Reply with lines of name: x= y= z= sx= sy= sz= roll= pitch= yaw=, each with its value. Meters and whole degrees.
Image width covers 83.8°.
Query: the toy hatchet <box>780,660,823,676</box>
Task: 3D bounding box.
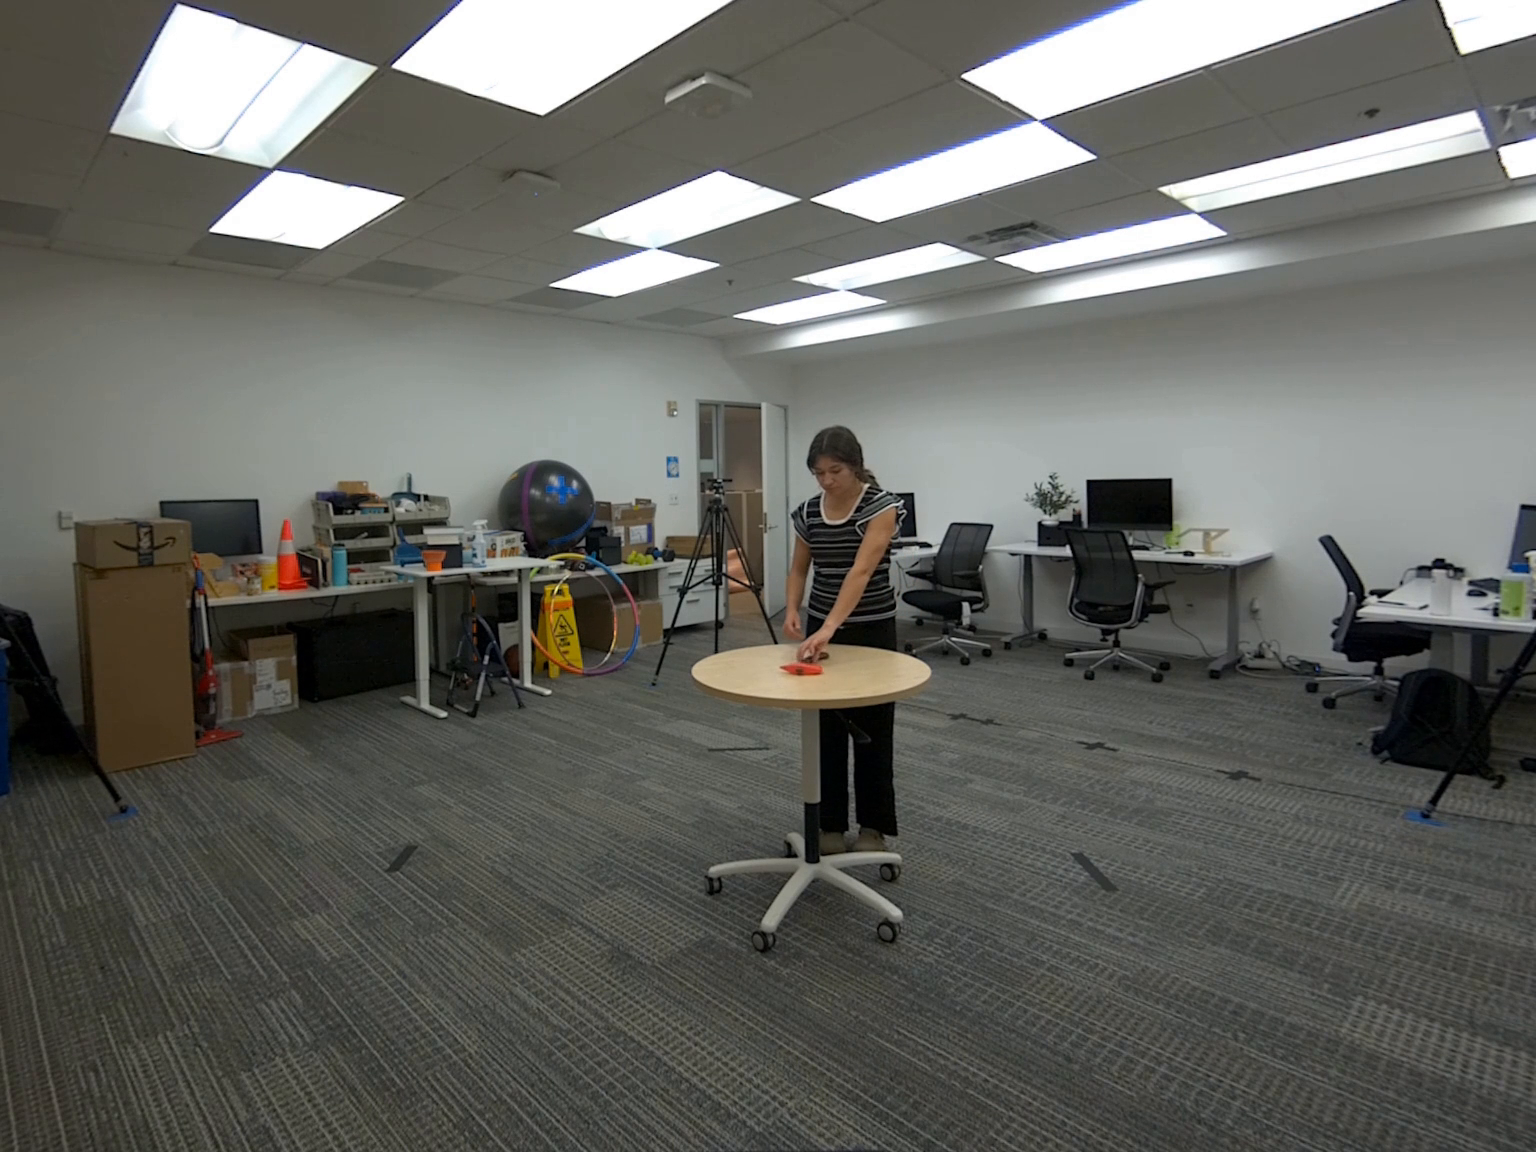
toy hatchet: x=0.162 y=0.281 z=2.781 sx=0.134 sy=0.029 sz=0.264 roll=2 pitch=7 yaw=31
